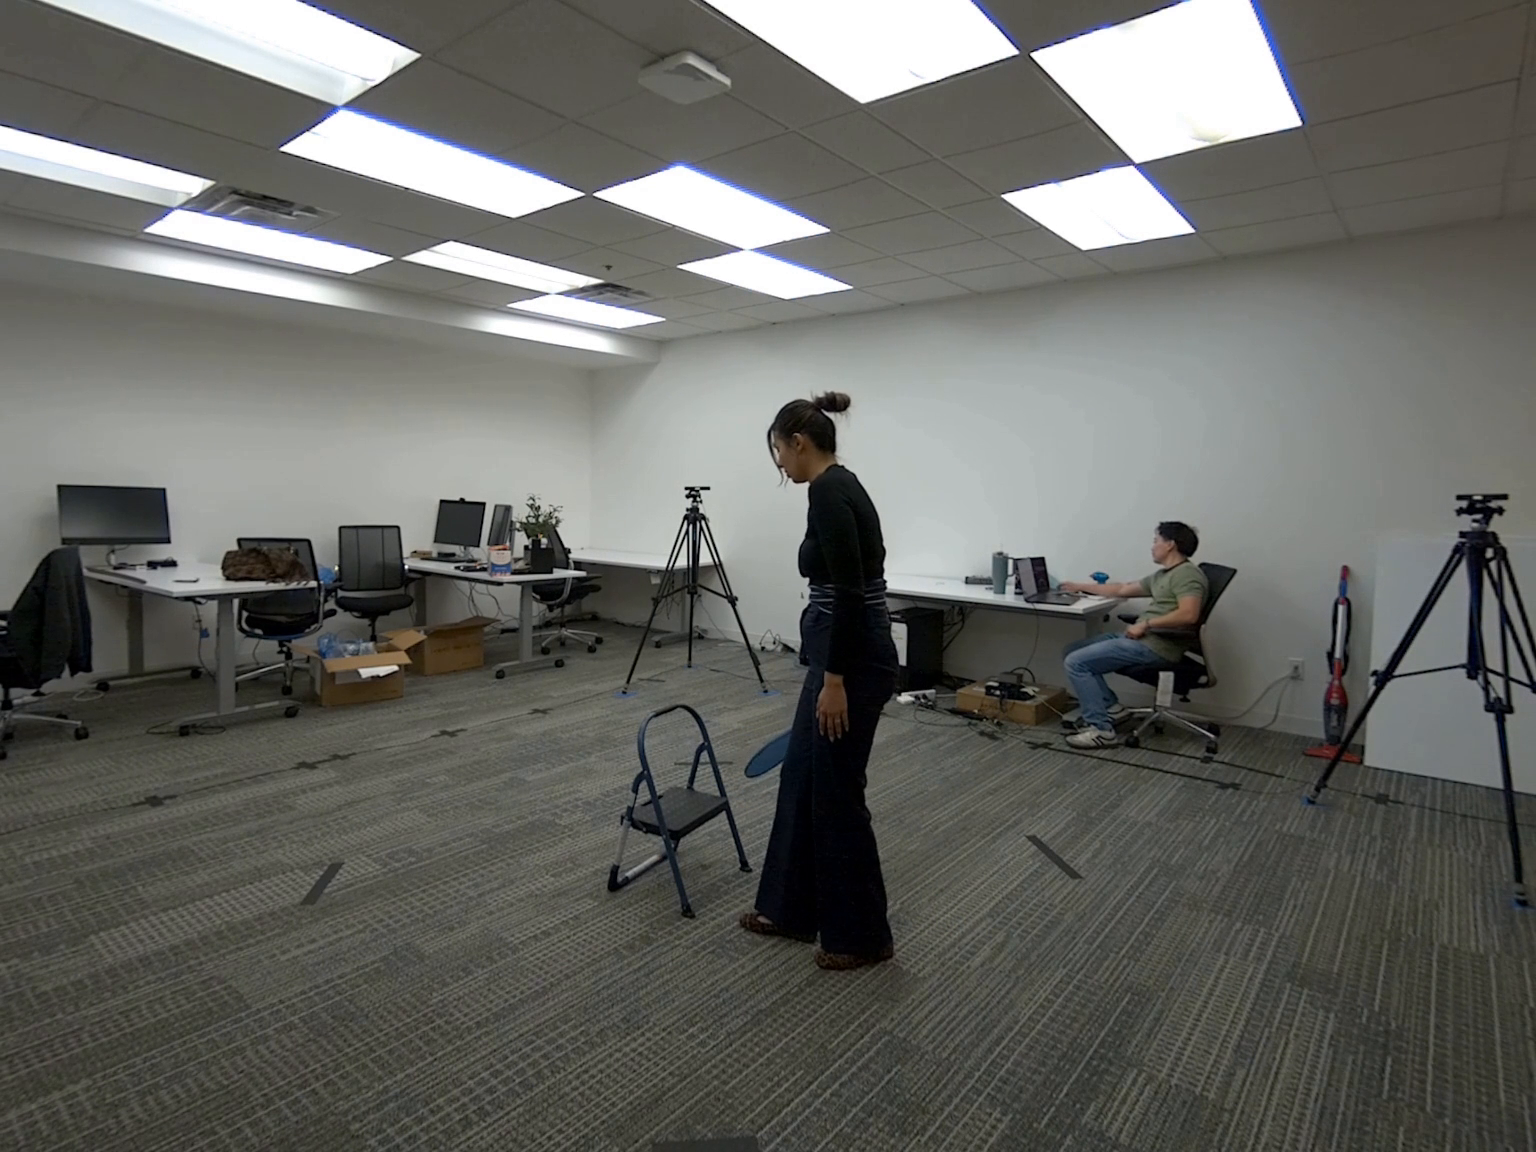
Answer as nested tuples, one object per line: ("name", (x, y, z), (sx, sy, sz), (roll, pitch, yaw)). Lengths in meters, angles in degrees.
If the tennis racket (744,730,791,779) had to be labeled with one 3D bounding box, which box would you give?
("tennis racket", (0.048, 0.546, 2.860), (0.433, 0.033, 0.206), (-47, -30, 22))
